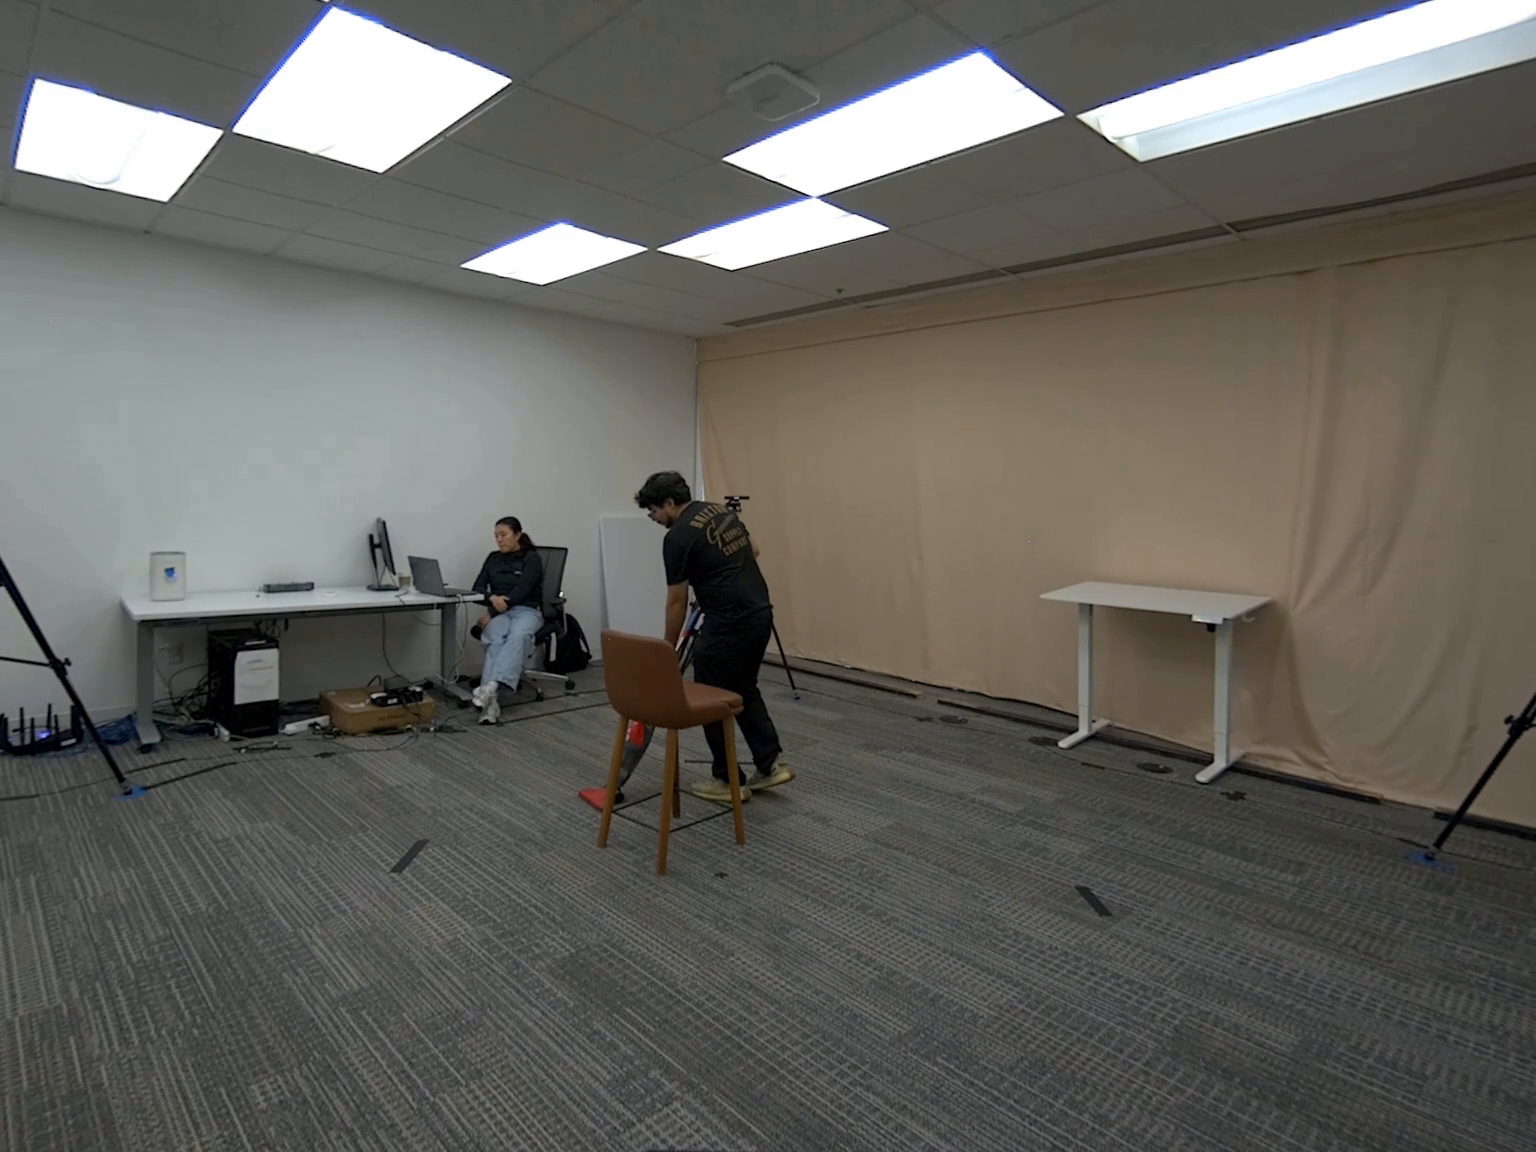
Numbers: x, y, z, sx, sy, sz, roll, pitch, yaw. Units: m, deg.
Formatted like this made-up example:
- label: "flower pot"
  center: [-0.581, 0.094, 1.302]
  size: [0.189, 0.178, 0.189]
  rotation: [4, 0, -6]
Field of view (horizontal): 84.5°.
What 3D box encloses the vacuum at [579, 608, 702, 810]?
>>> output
- label: "vacuum"
  center: [-0.529, 0.569, 3.971]
  size: [0.140, 1.054, 0.259]
  rotation: [38, -19, -32]
